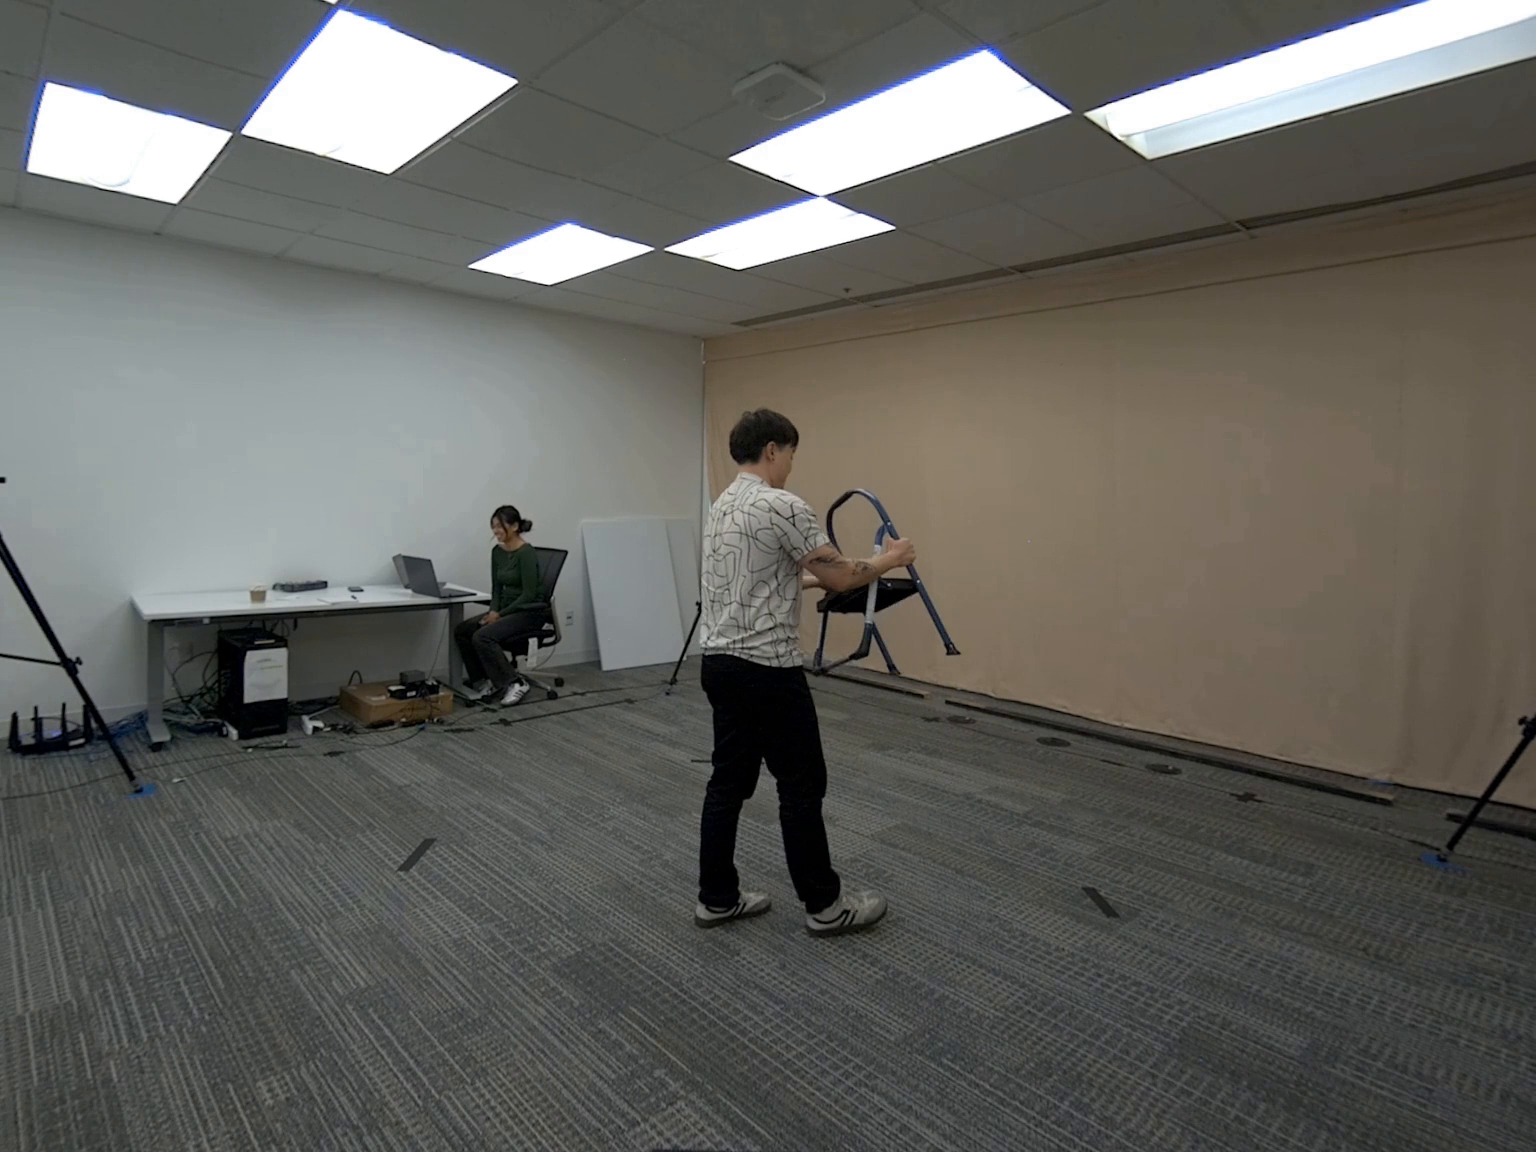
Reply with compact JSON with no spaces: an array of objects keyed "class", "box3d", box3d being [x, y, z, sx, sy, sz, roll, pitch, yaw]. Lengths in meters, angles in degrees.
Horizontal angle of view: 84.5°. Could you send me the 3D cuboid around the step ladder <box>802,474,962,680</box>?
[{"class":"step ladder","box3d":[0.359,0.019,2.934,0.344,0.614,0.431,2,-18,-18]}]
